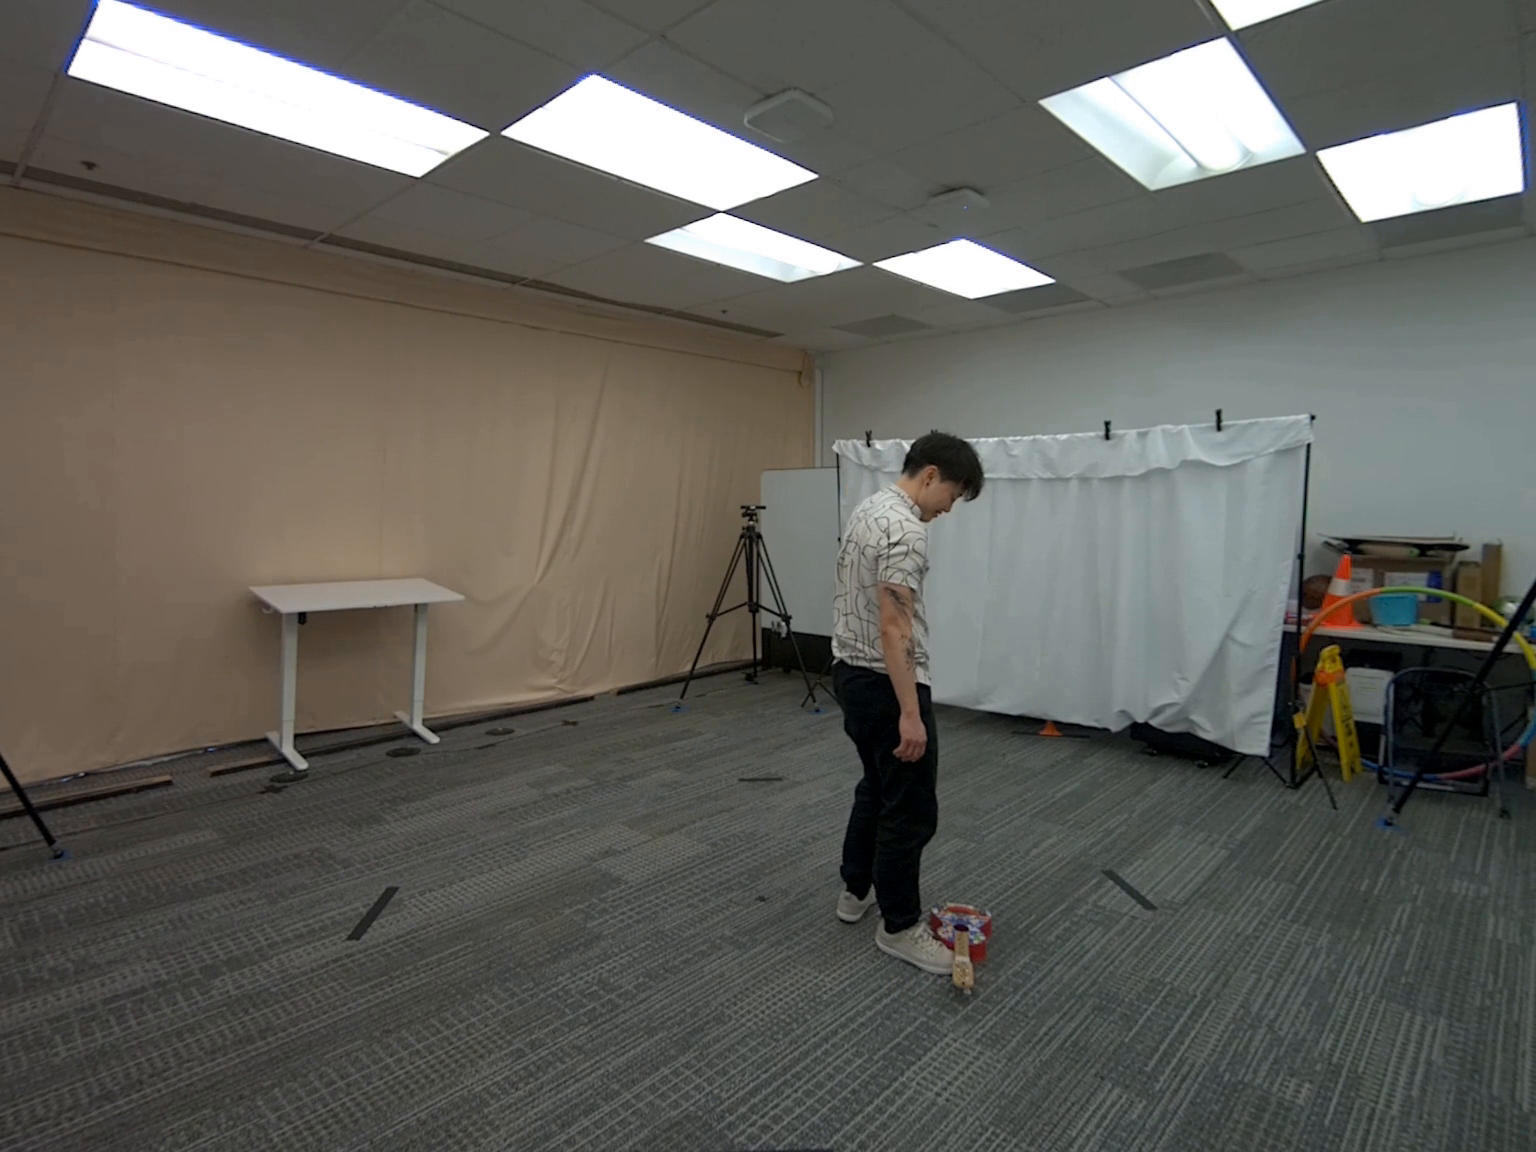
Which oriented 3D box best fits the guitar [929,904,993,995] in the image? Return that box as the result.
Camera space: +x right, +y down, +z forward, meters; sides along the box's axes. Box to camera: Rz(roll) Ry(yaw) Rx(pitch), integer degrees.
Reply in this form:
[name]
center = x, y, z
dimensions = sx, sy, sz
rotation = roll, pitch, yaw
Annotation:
[guitar]
center = 0.572, 1.140, 2.586
dimensions = 0.197, 0.070, 0.487
rotation = 3, 5, 22
